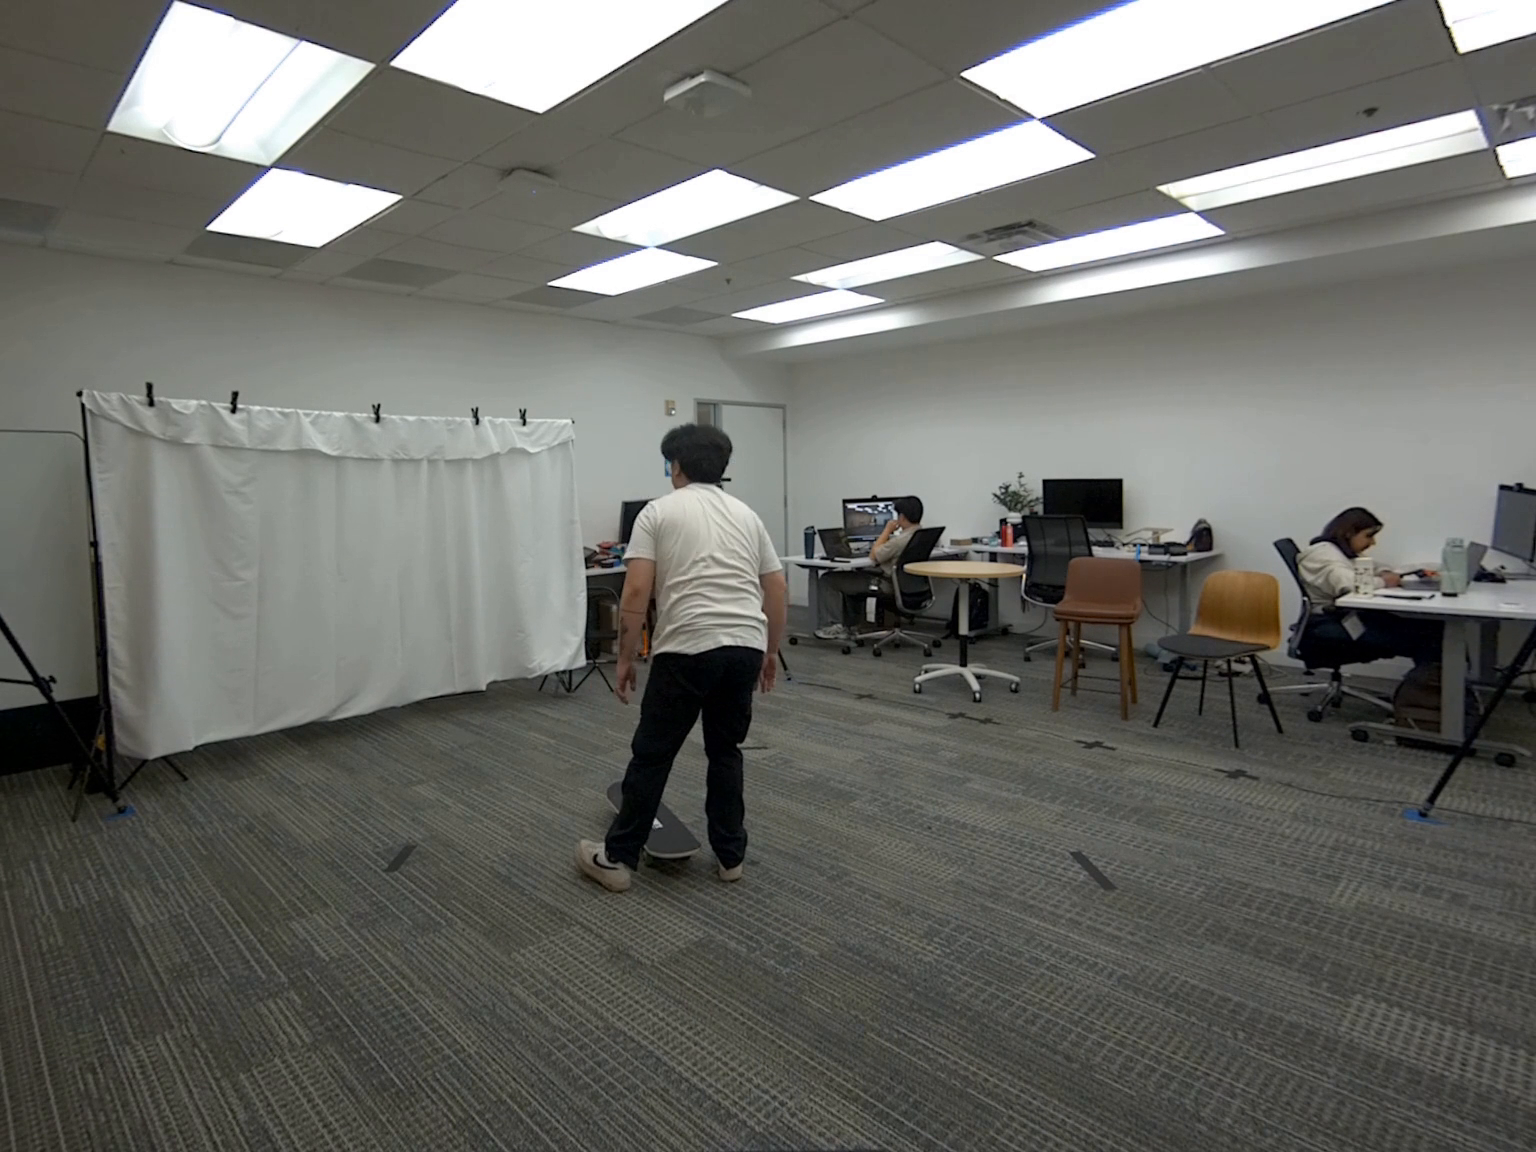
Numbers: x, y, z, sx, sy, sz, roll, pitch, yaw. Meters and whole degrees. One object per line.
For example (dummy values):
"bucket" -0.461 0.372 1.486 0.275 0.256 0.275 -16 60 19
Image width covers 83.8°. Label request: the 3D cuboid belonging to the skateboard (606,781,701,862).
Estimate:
"skateboard" -0.455 0.972 3.309 0.189 0.110 0.805 -3 7 -24
